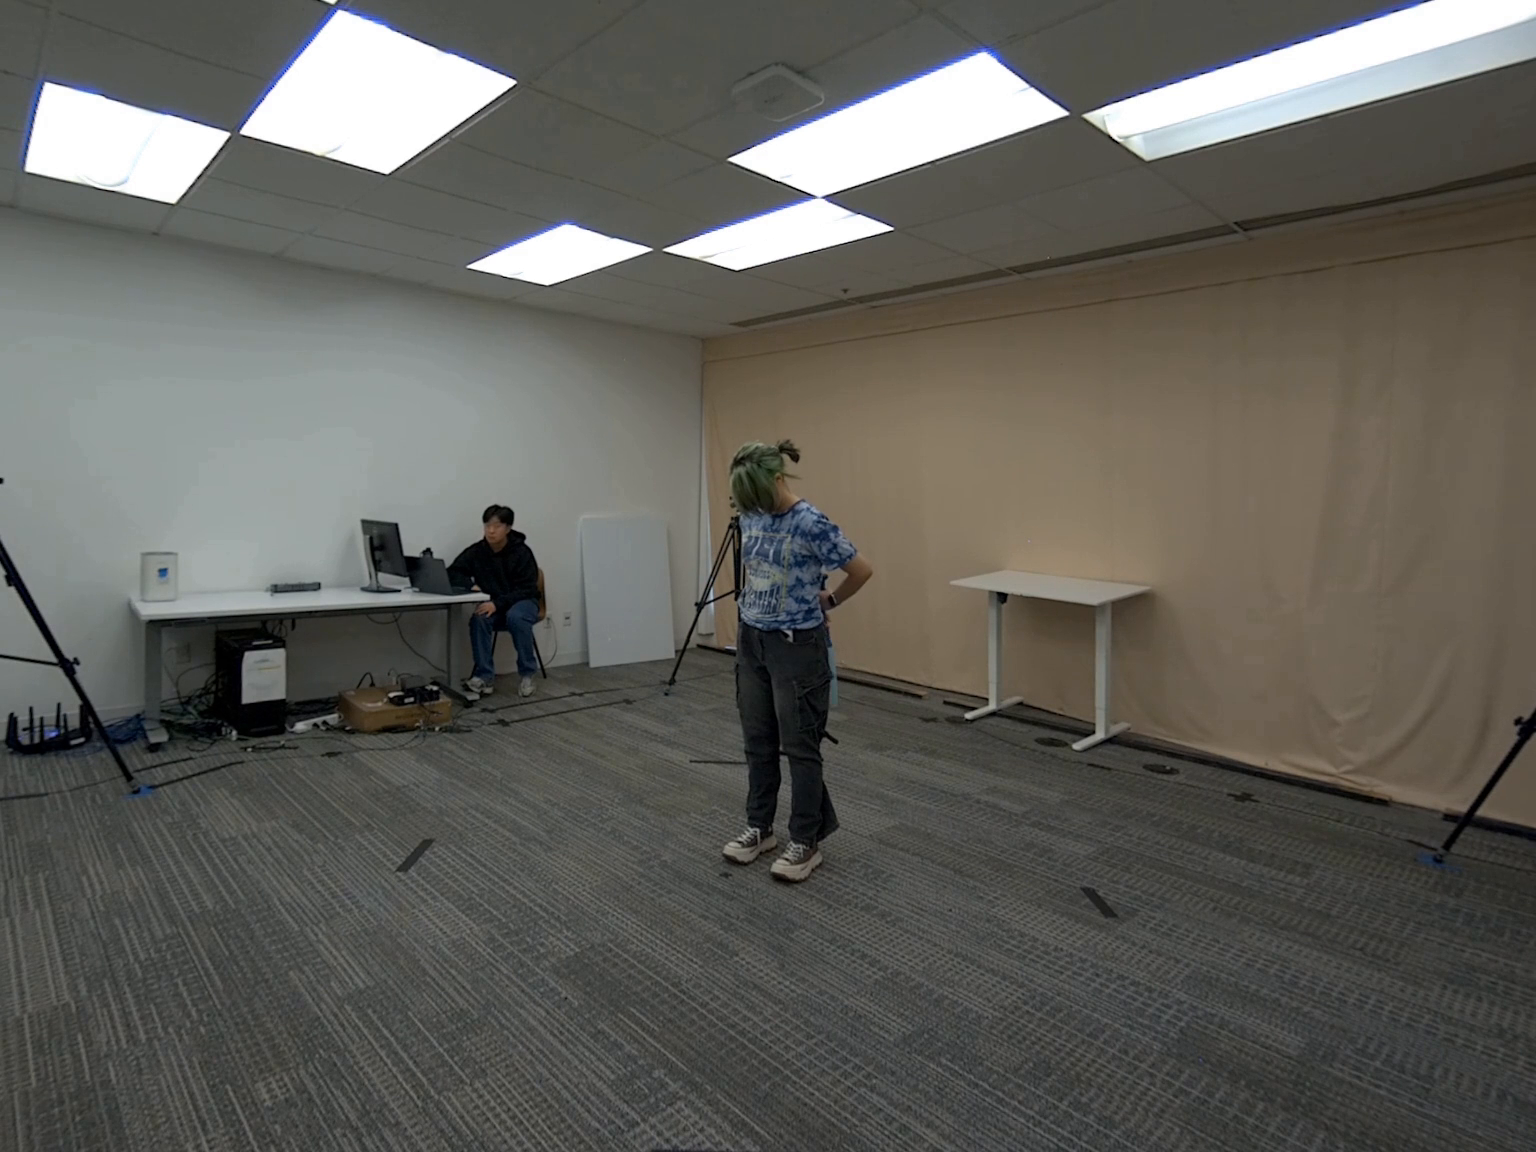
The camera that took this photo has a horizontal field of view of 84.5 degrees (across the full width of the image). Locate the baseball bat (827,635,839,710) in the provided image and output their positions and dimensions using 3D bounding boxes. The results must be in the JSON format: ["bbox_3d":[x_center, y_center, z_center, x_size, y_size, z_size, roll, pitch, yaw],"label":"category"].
[{"bbox_3d":[0.219,0.264,3.353,0.089,0.543,0.089,-2,0,-1],"label":"baseball bat"}]
